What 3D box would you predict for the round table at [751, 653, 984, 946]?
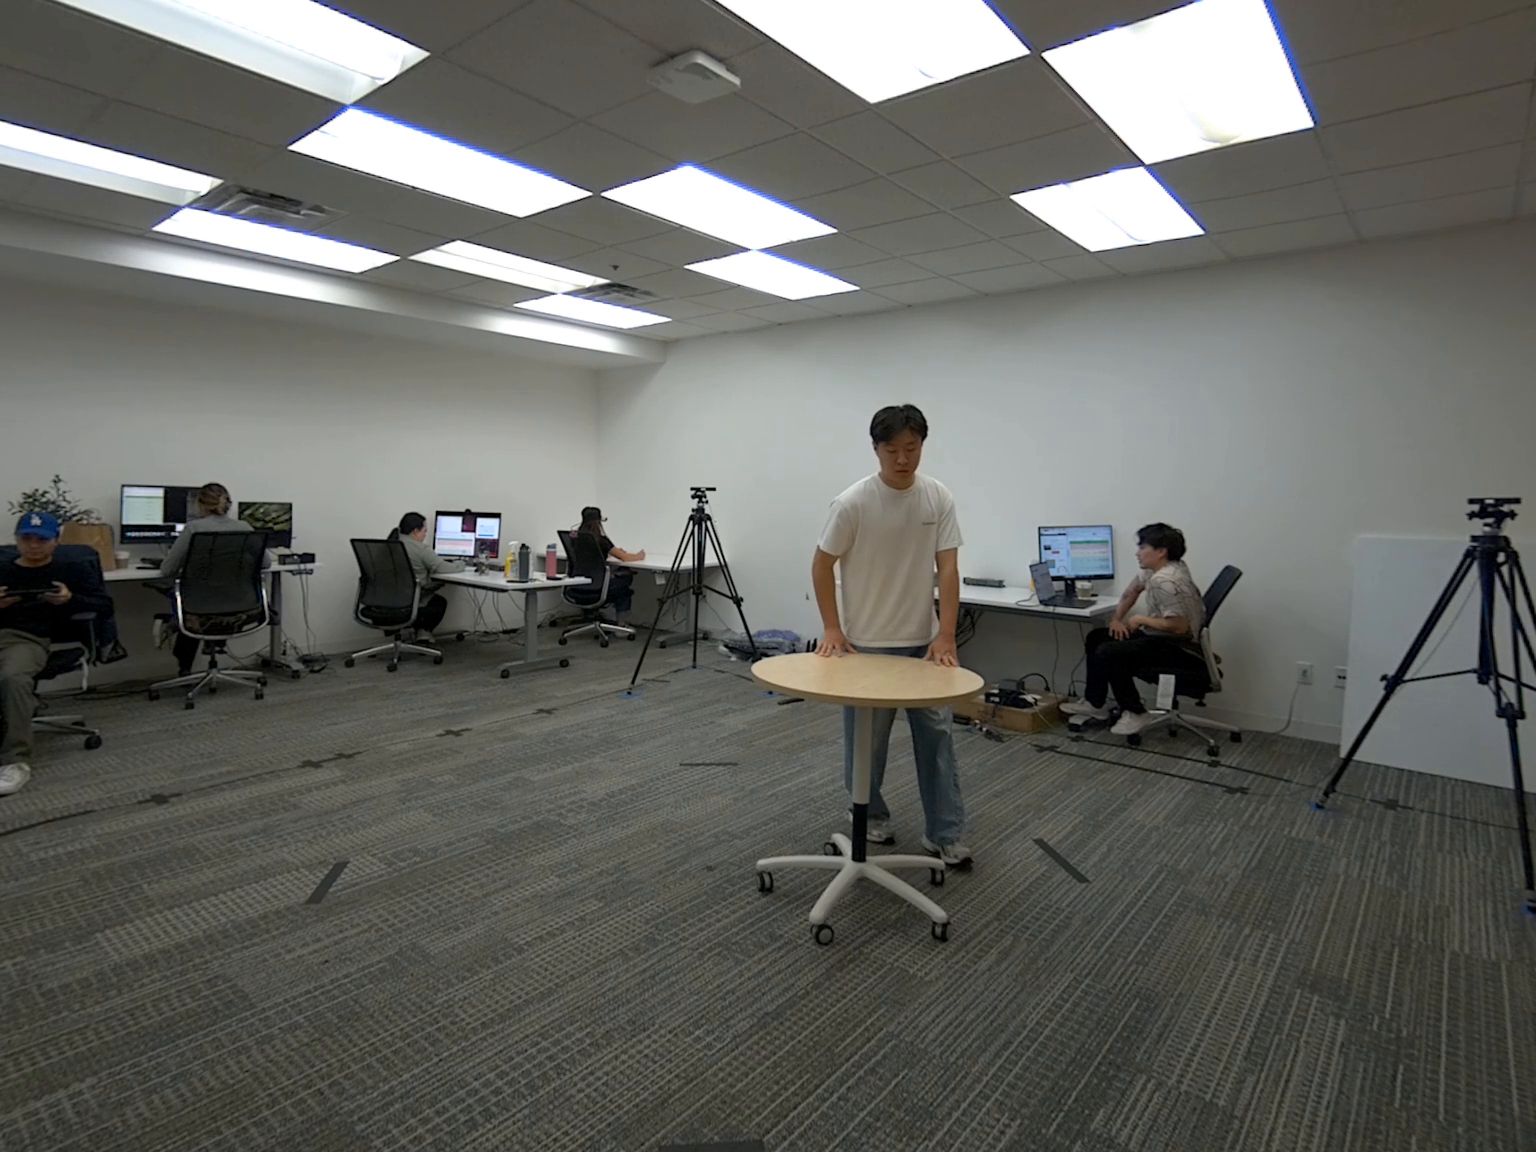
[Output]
[{"bbox_3d":[0.297,0.713,2.876,0.763,0.791,0.768,1,4,-2],"label":"round table"}]
